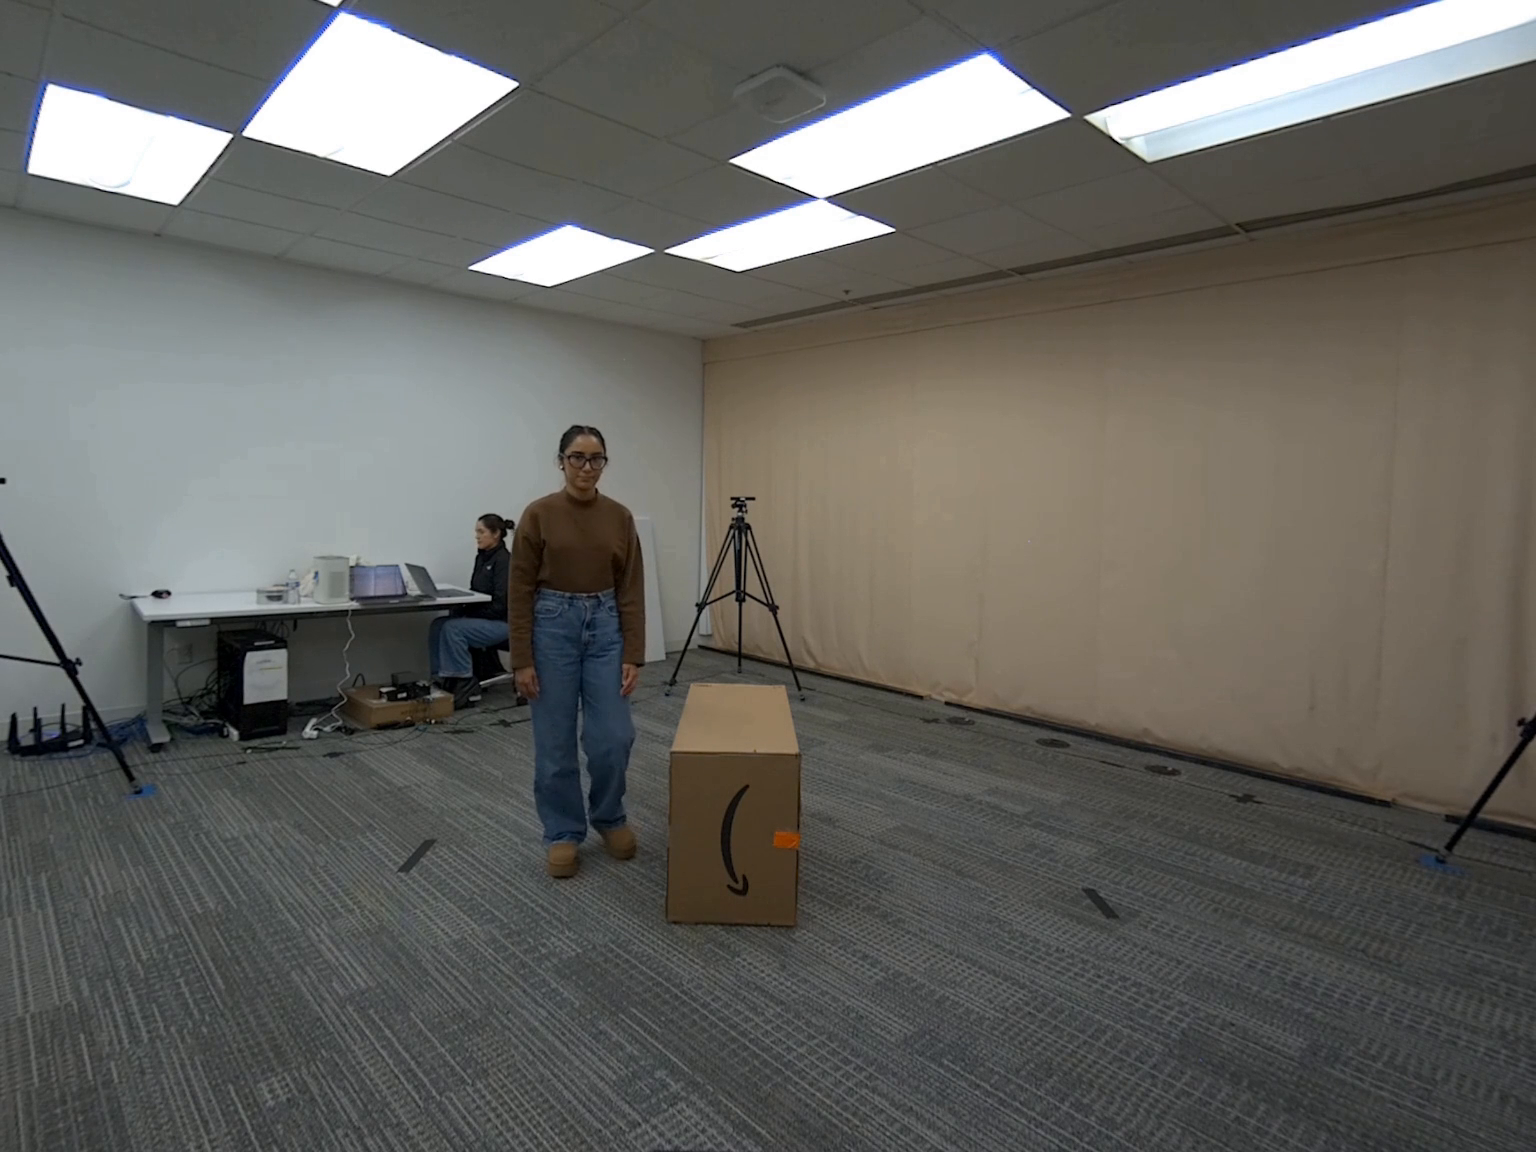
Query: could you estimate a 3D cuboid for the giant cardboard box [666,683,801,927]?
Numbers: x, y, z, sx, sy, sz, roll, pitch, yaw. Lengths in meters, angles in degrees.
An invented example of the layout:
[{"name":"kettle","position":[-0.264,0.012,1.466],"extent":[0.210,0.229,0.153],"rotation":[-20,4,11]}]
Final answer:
[{"name":"giant cardboard box","position":[-0.127,0.808,3.233],"extent":[0.426,0.576,1.029],"rotation":[2,5,-1]}]
